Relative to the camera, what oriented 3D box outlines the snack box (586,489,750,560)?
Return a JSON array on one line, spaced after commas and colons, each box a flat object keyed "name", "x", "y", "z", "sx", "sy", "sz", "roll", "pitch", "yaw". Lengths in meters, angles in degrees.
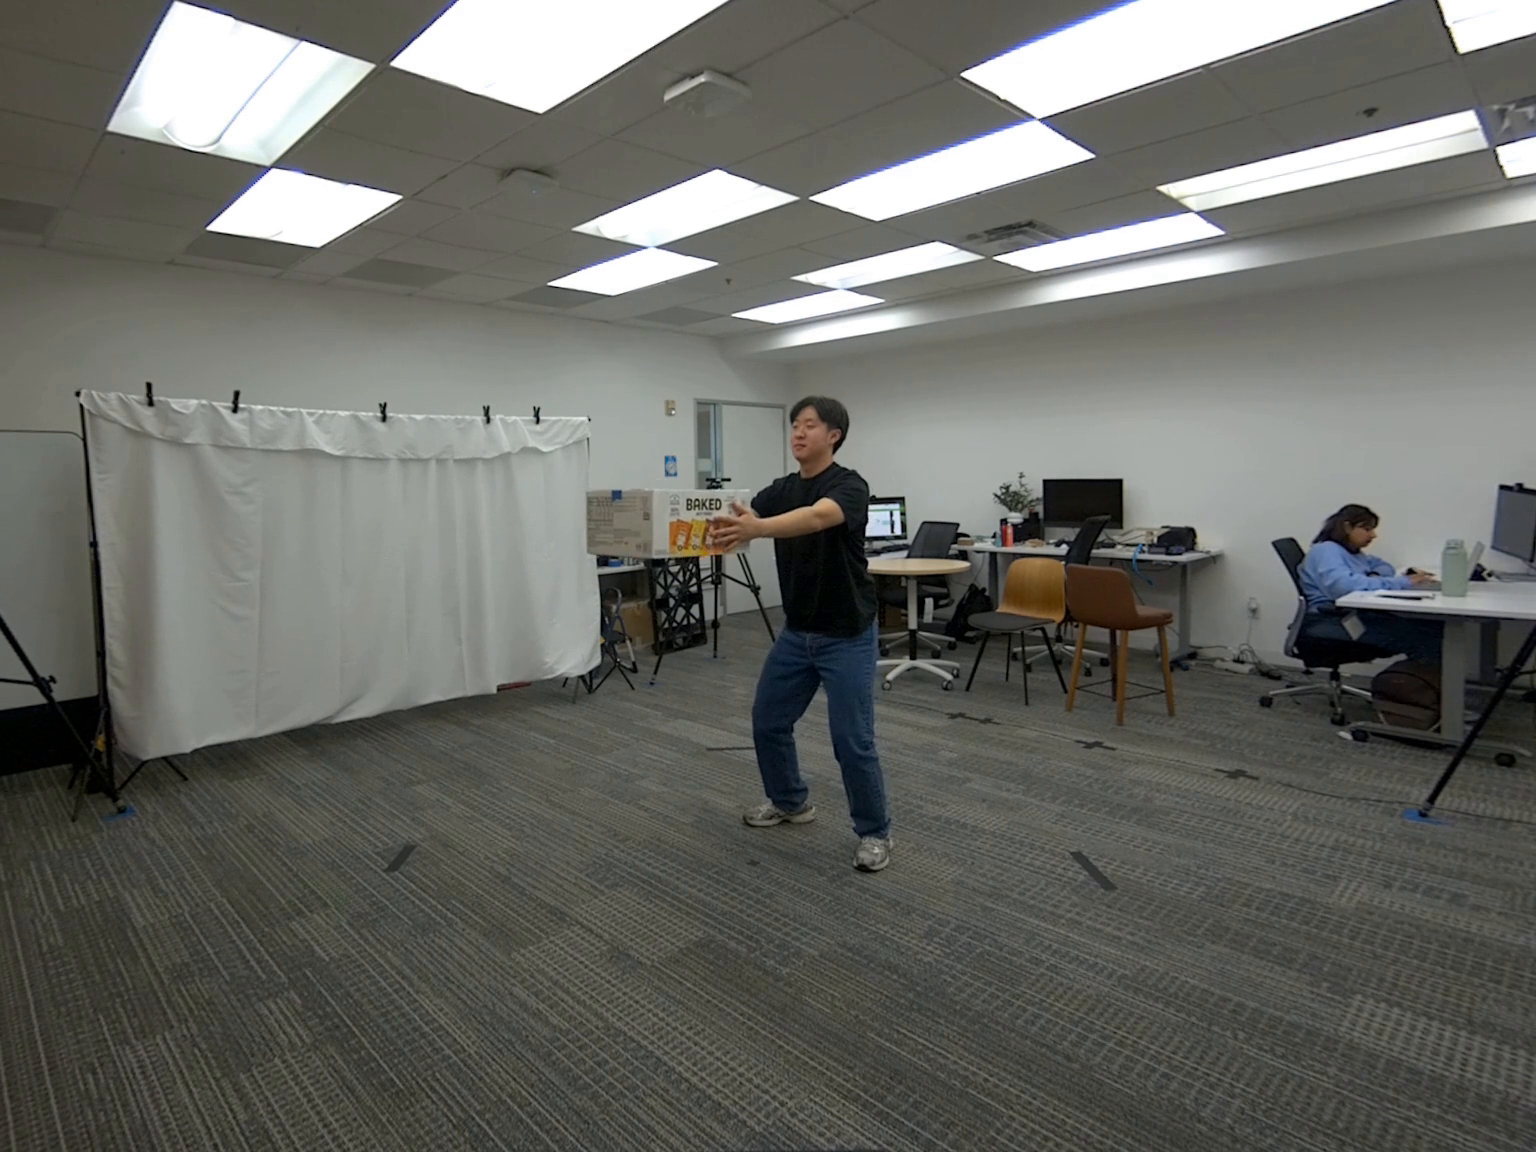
[{"name": "snack box", "x": -0.314, "y": -0.168, "z": 2.718, "sx": 0.351, "sy": 0.205, "sz": 0.394, "roll": 3, "pitch": 6, "yaw": 44}]
